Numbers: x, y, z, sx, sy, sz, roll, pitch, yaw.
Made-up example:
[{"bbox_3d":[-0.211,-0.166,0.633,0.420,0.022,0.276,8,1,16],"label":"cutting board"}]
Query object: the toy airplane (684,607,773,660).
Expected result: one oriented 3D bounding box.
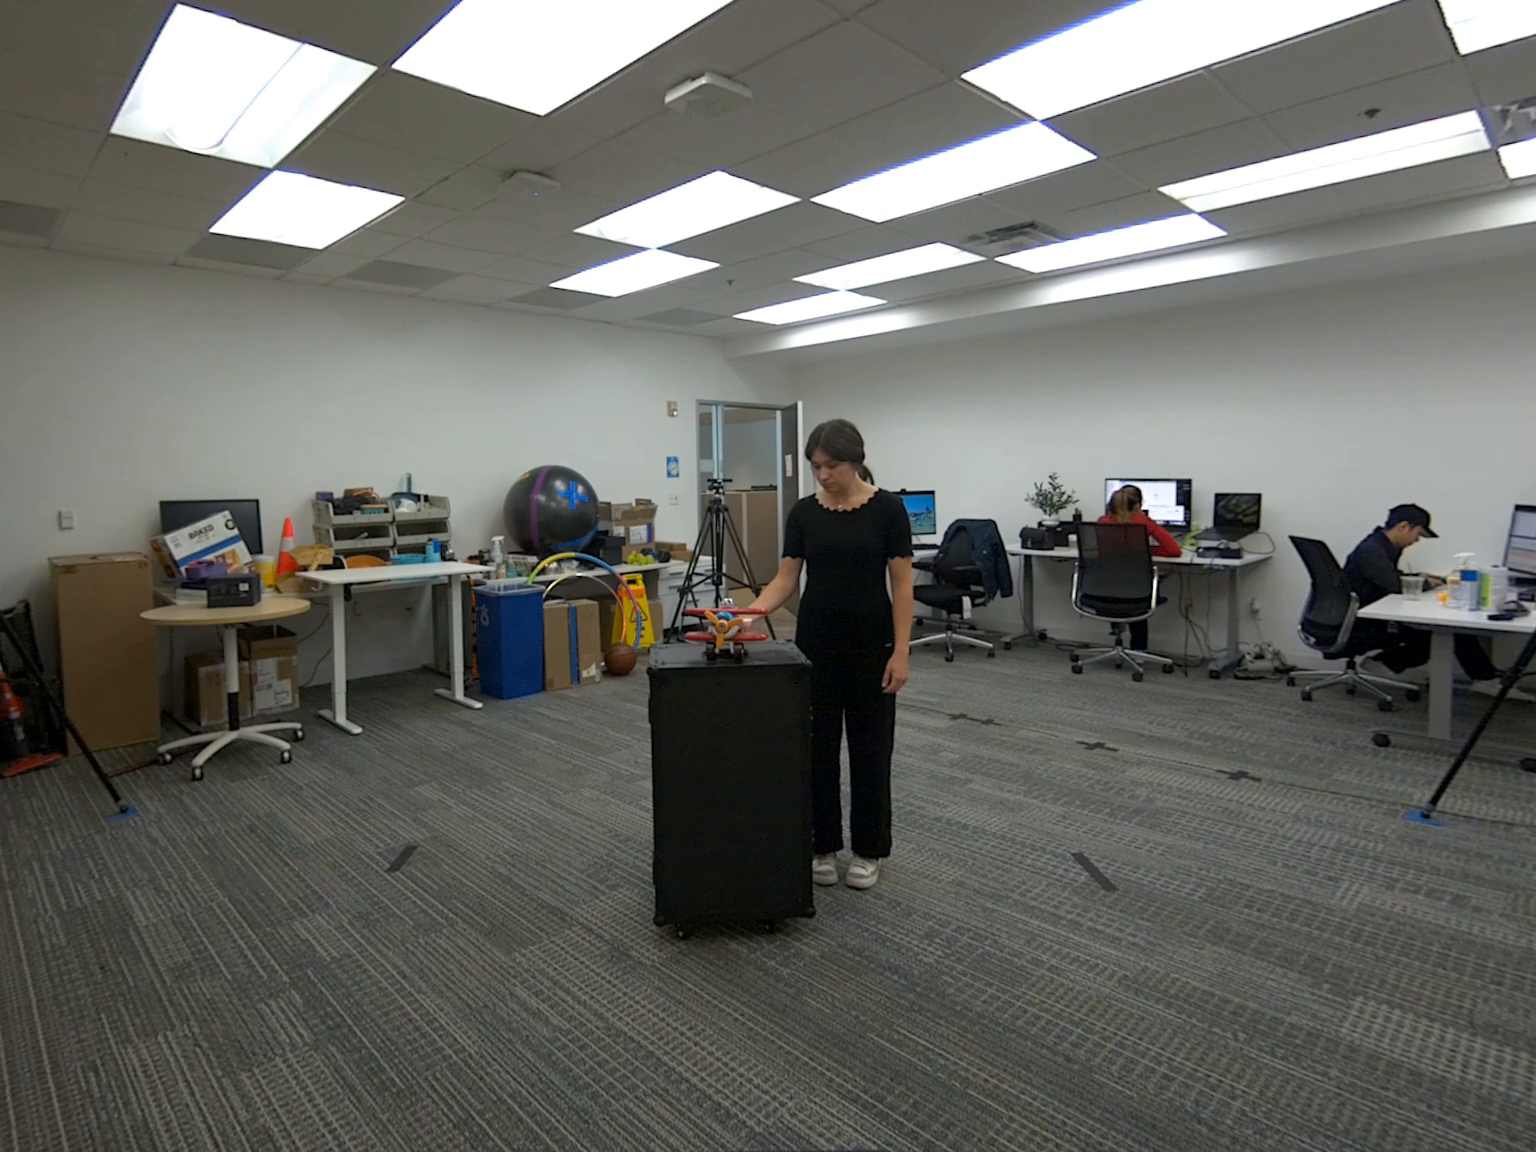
[{"bbox_3d":[-0.139,0.157,2.660,0.247,0.154,0.267,-7,17,-22],"label":"toy airplane"}]
